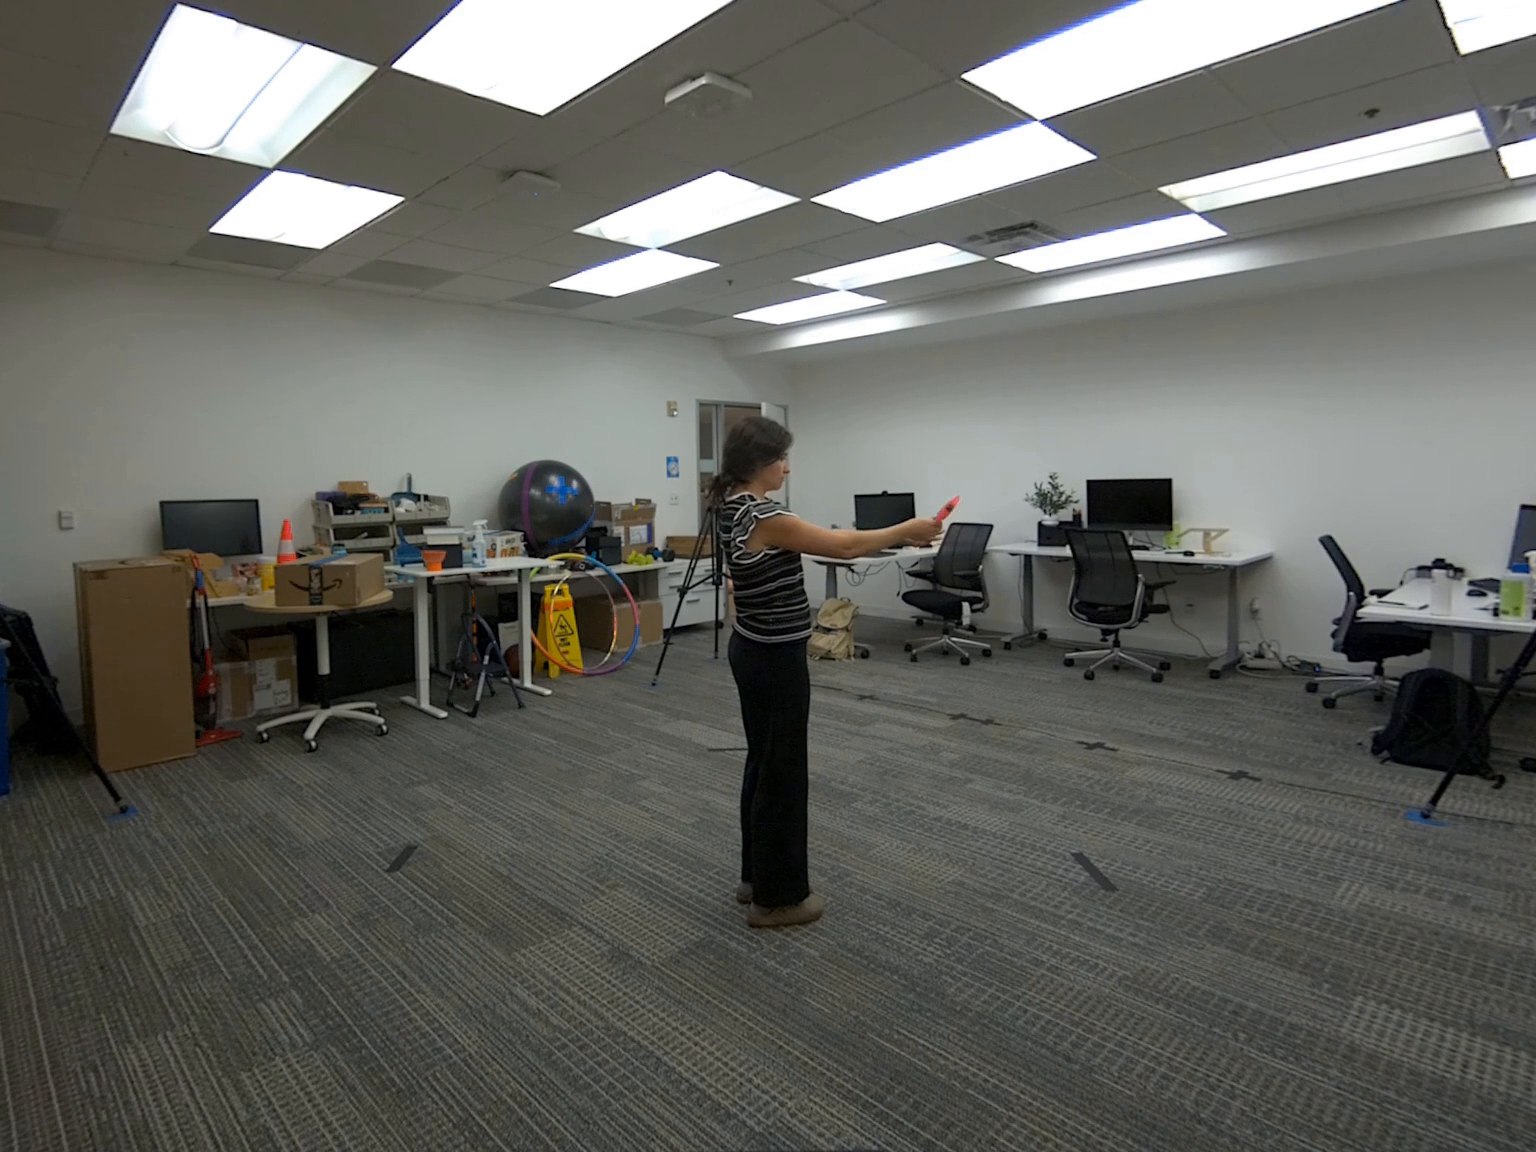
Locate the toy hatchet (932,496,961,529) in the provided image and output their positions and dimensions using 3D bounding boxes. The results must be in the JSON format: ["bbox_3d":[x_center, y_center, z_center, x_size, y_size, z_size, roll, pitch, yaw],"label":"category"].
[{"bbox_3d":[0.568,-0.214,2.788,0.030,0.131,0.268,38,2,2],"label":"toy hatchet"}]
